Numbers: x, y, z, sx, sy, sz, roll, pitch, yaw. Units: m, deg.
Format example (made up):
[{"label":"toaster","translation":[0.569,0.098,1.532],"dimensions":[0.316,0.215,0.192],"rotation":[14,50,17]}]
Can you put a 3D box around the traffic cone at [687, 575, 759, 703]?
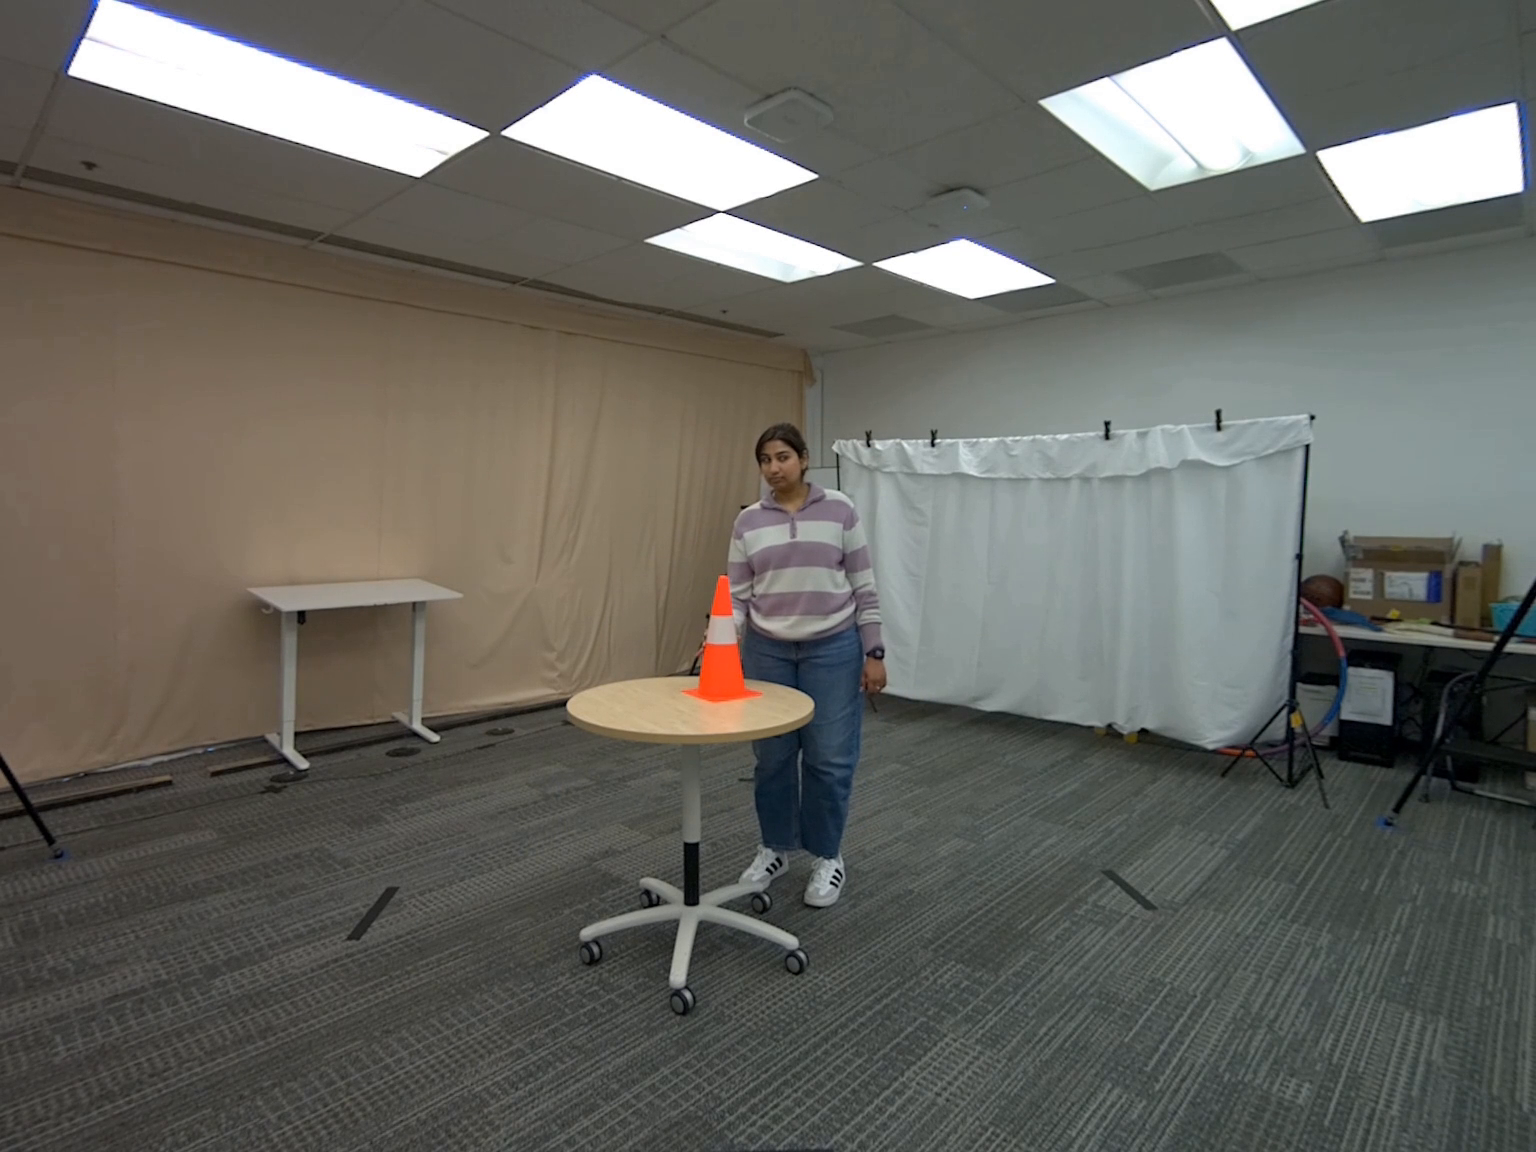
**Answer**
[{"label":"traffic cone","translation":[-0.150,0.201,2.725],"dimensions":[0.210,0.383,0.198],"rotation":[1,1,44]}]
